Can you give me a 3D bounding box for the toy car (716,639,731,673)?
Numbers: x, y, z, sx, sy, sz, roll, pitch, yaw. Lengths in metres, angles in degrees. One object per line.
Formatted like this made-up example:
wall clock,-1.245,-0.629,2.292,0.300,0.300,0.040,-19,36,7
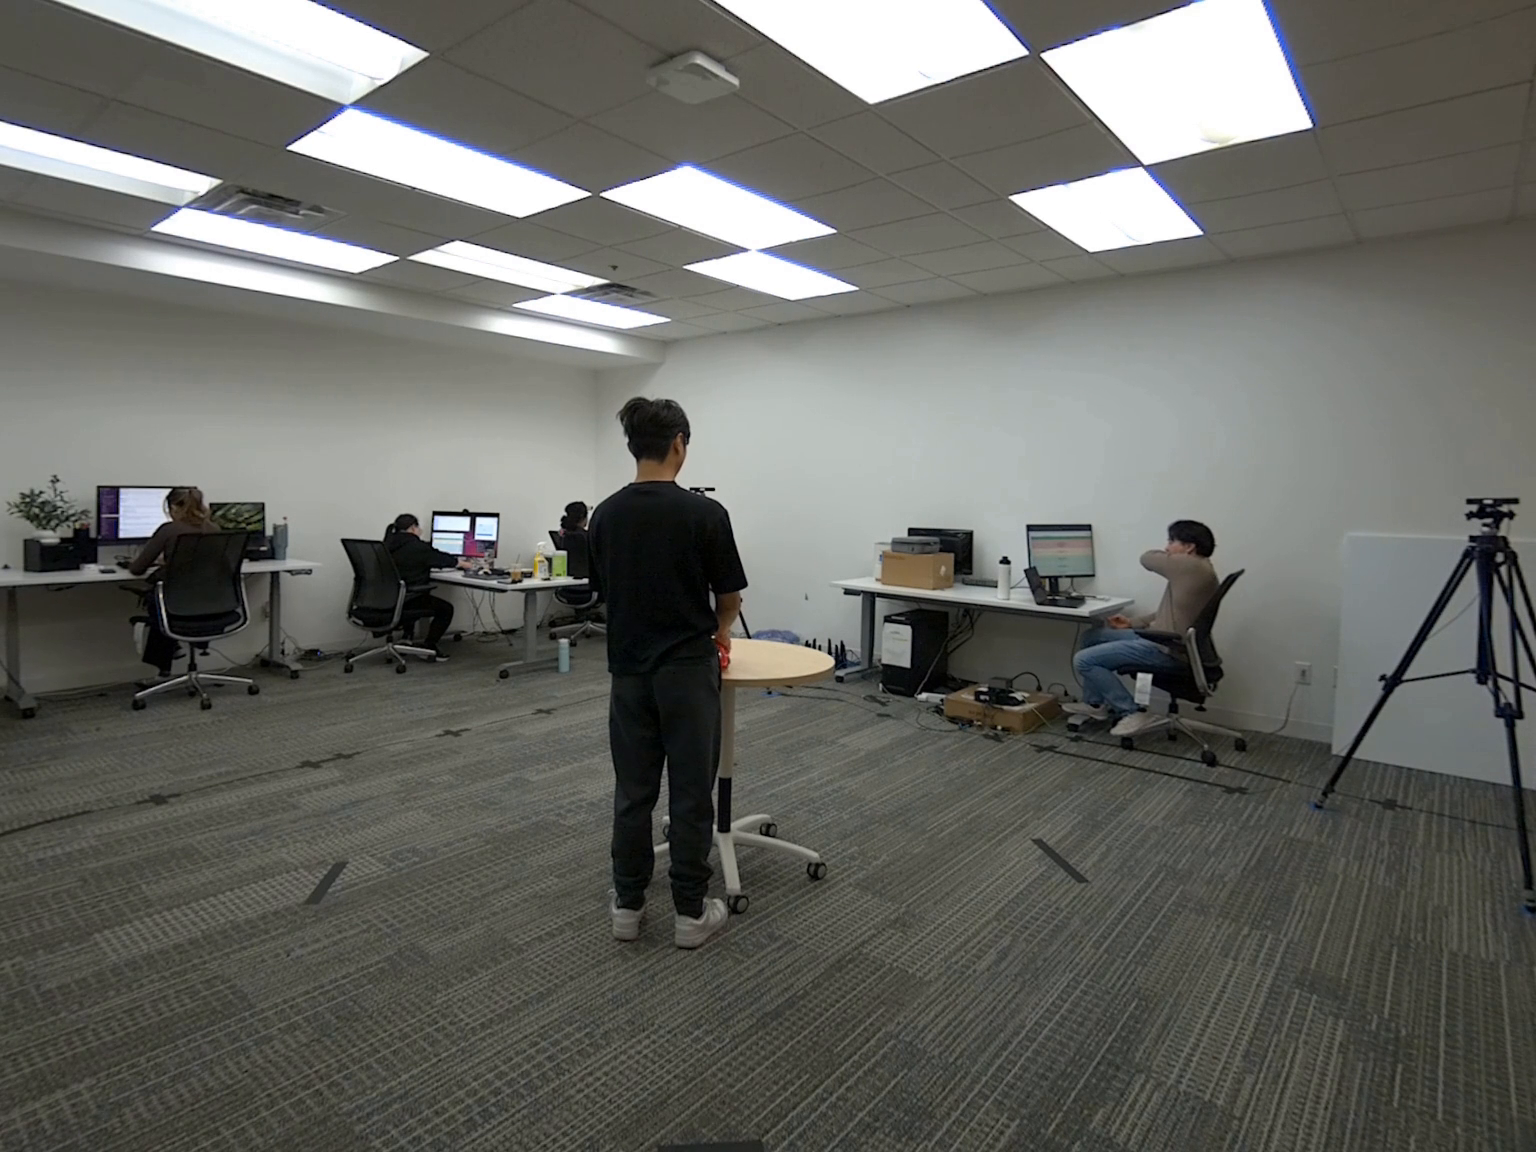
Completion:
toy car,-0.200,0.249,2.898,0.129,0.082,0.260,4,17,-11
